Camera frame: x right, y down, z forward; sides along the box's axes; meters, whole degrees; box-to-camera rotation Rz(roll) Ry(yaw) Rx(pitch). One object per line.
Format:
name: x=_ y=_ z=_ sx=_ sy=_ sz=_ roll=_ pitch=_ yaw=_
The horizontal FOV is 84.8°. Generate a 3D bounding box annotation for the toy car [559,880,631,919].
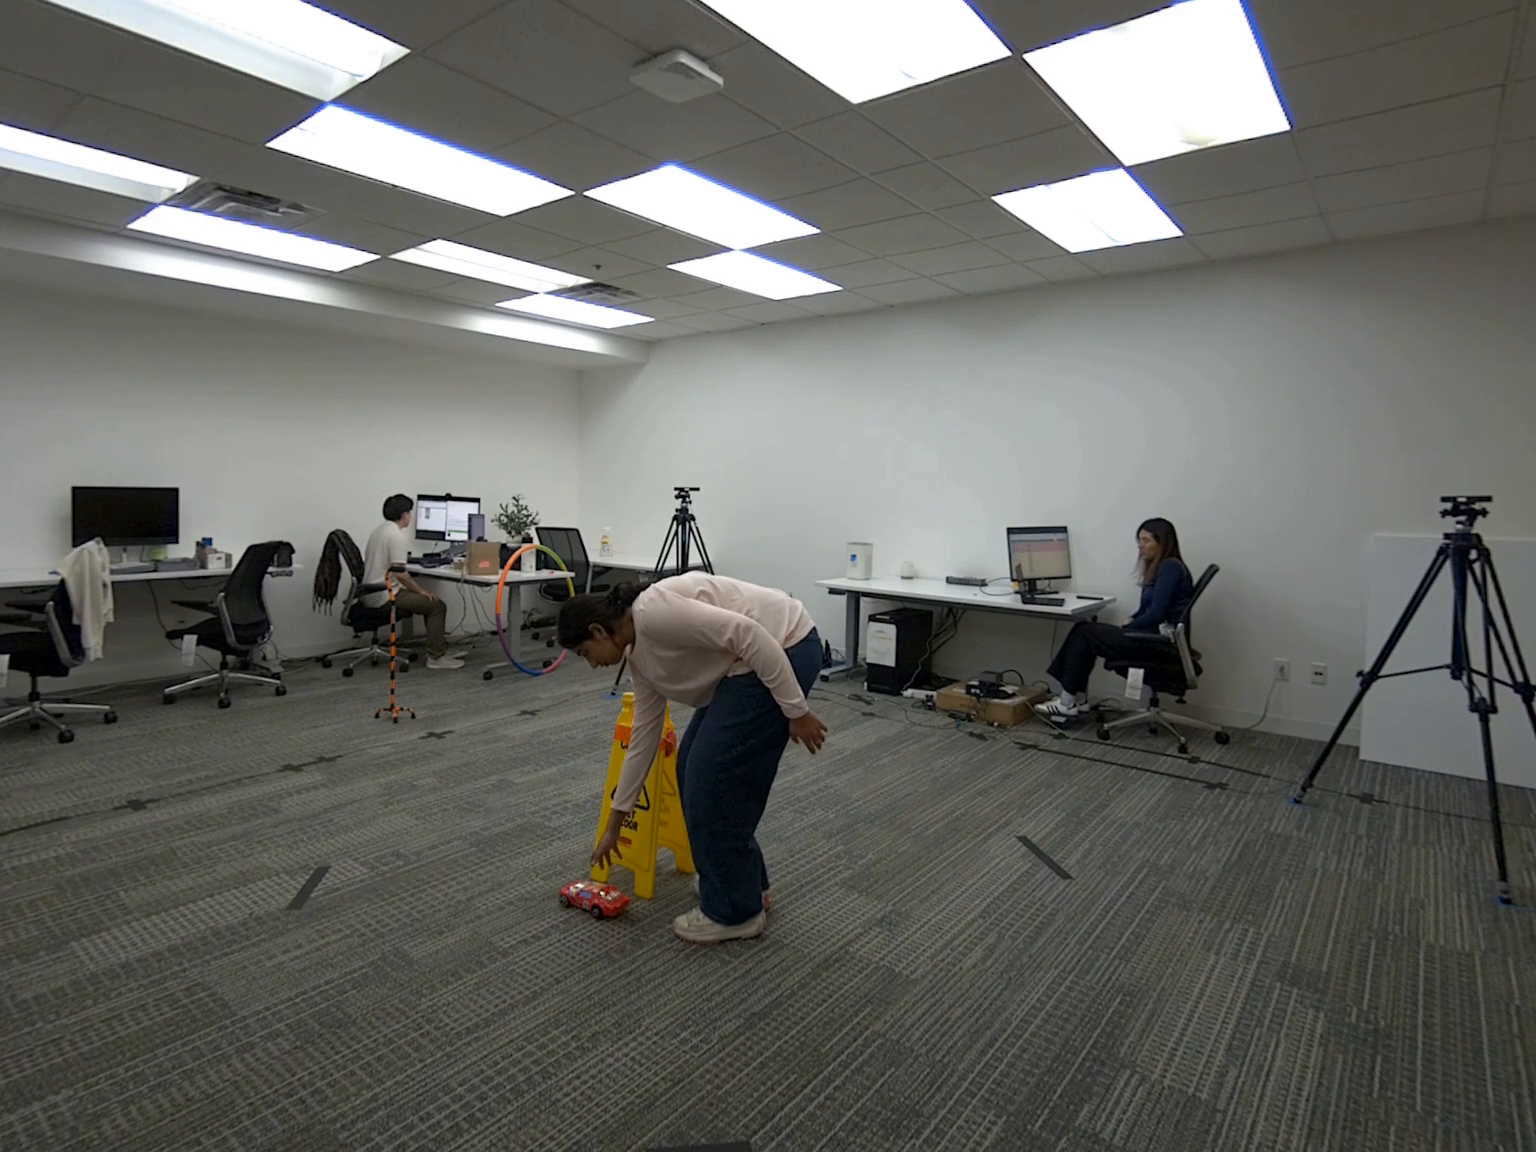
toy car: x=-0.578 y=1.062 z=2.800 sx=0.261 sy=0.083 sz=0.127 roll=-7 pitch=0 yaw=33
